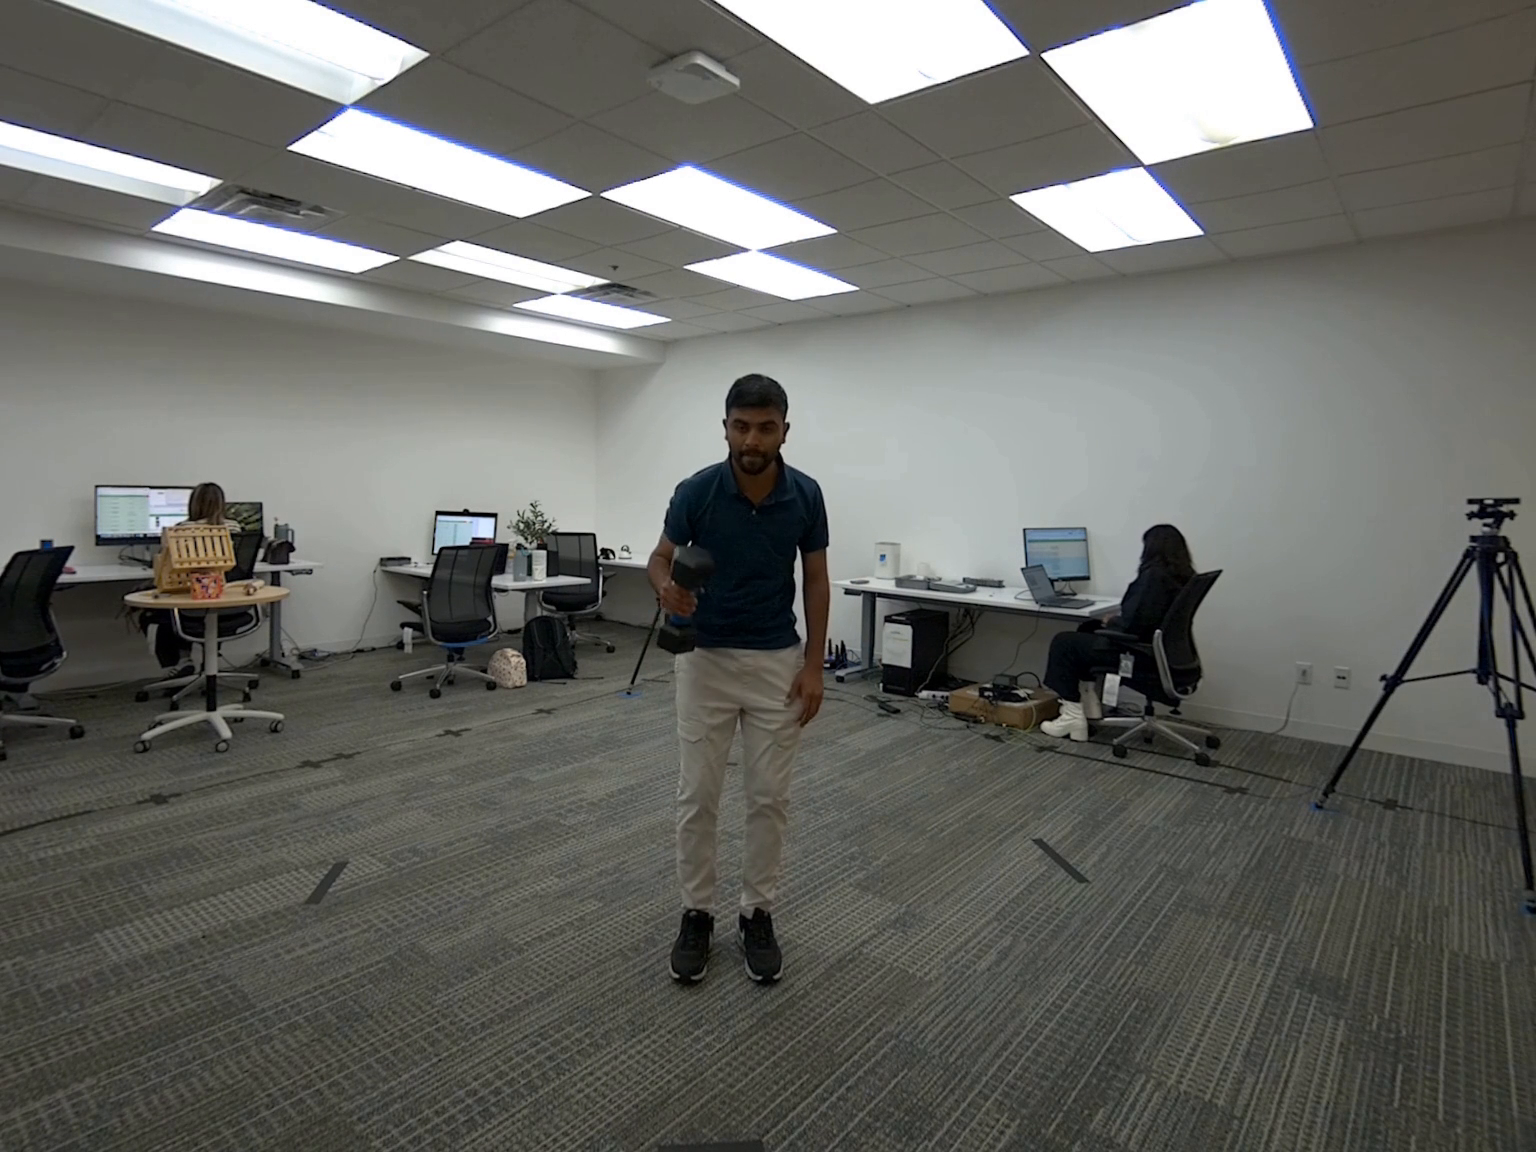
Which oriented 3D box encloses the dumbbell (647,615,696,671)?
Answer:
[{"bbox_3d":[-0.190,0.251,2.402,0.109,0.286,0.126,-50,22,-22],"label":"dumbbell"}]
